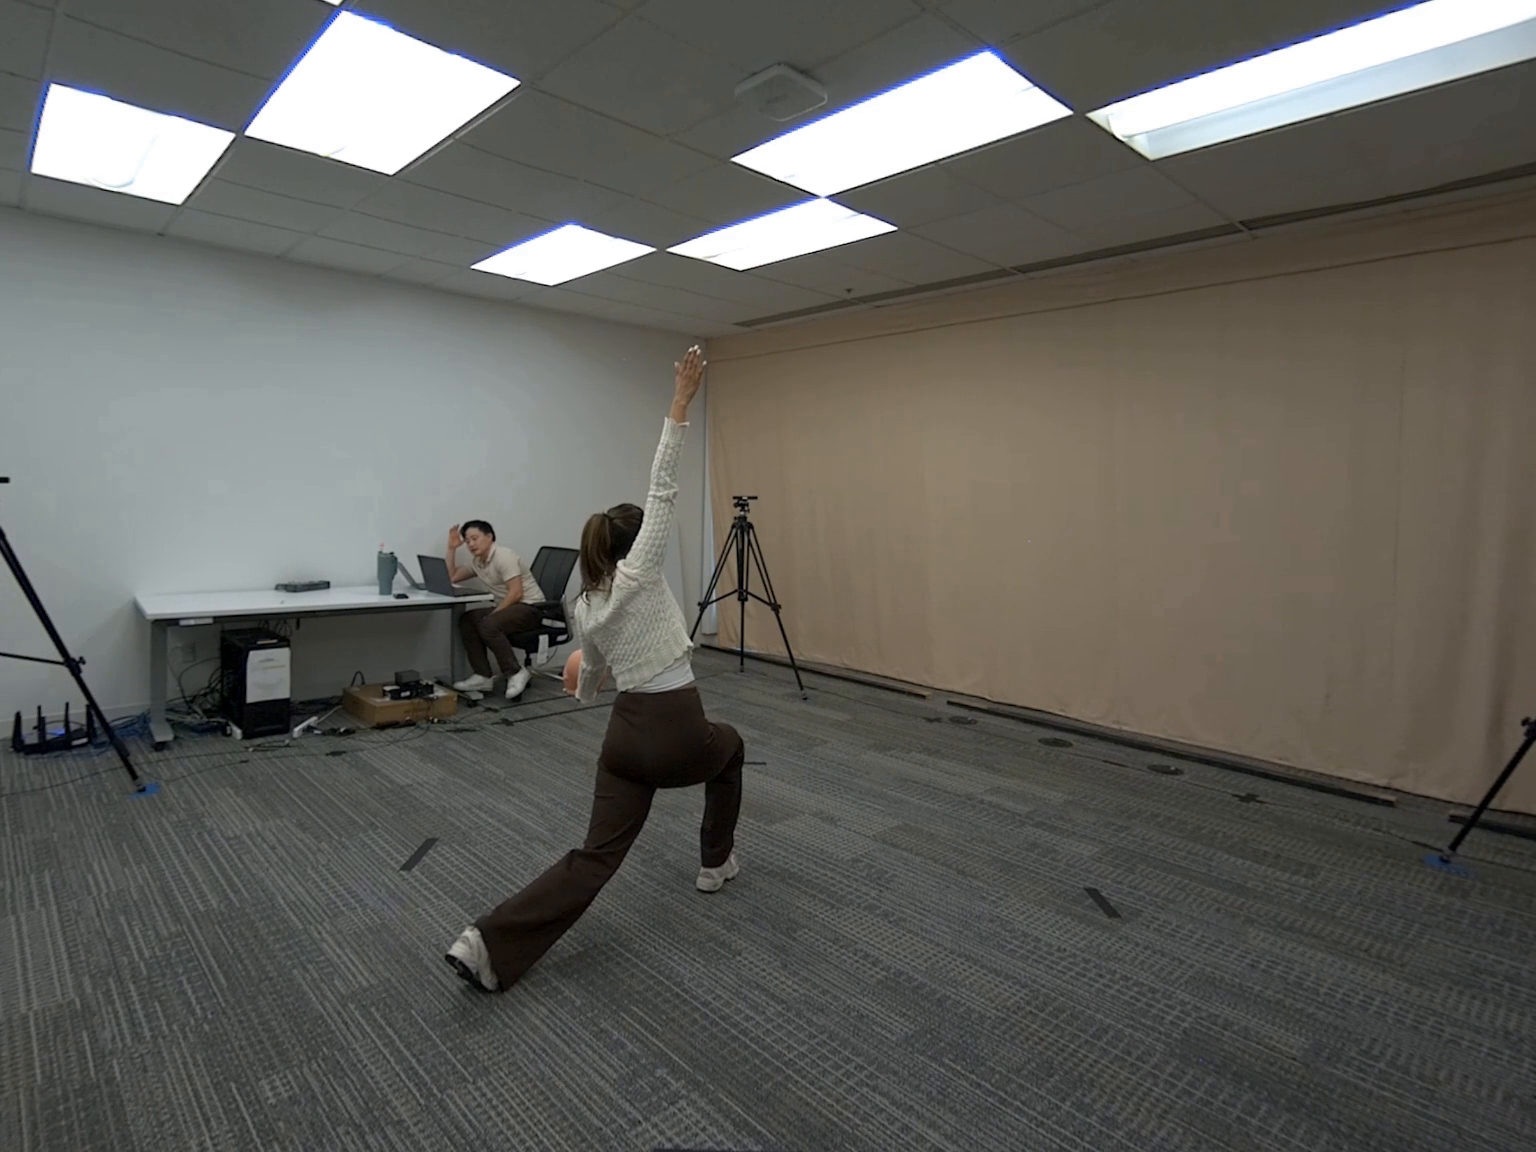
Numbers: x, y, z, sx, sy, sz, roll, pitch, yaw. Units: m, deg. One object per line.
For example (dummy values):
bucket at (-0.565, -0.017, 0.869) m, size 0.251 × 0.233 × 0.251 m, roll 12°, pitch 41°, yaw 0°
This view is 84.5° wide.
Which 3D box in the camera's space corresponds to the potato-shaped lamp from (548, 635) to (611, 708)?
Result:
potato-shaped lamp at (-0.727, 0.372, 3.310) m, size 0.173 × 0.166 × 0.194 m, roll 15°, pitch -33°, yaw 11°
